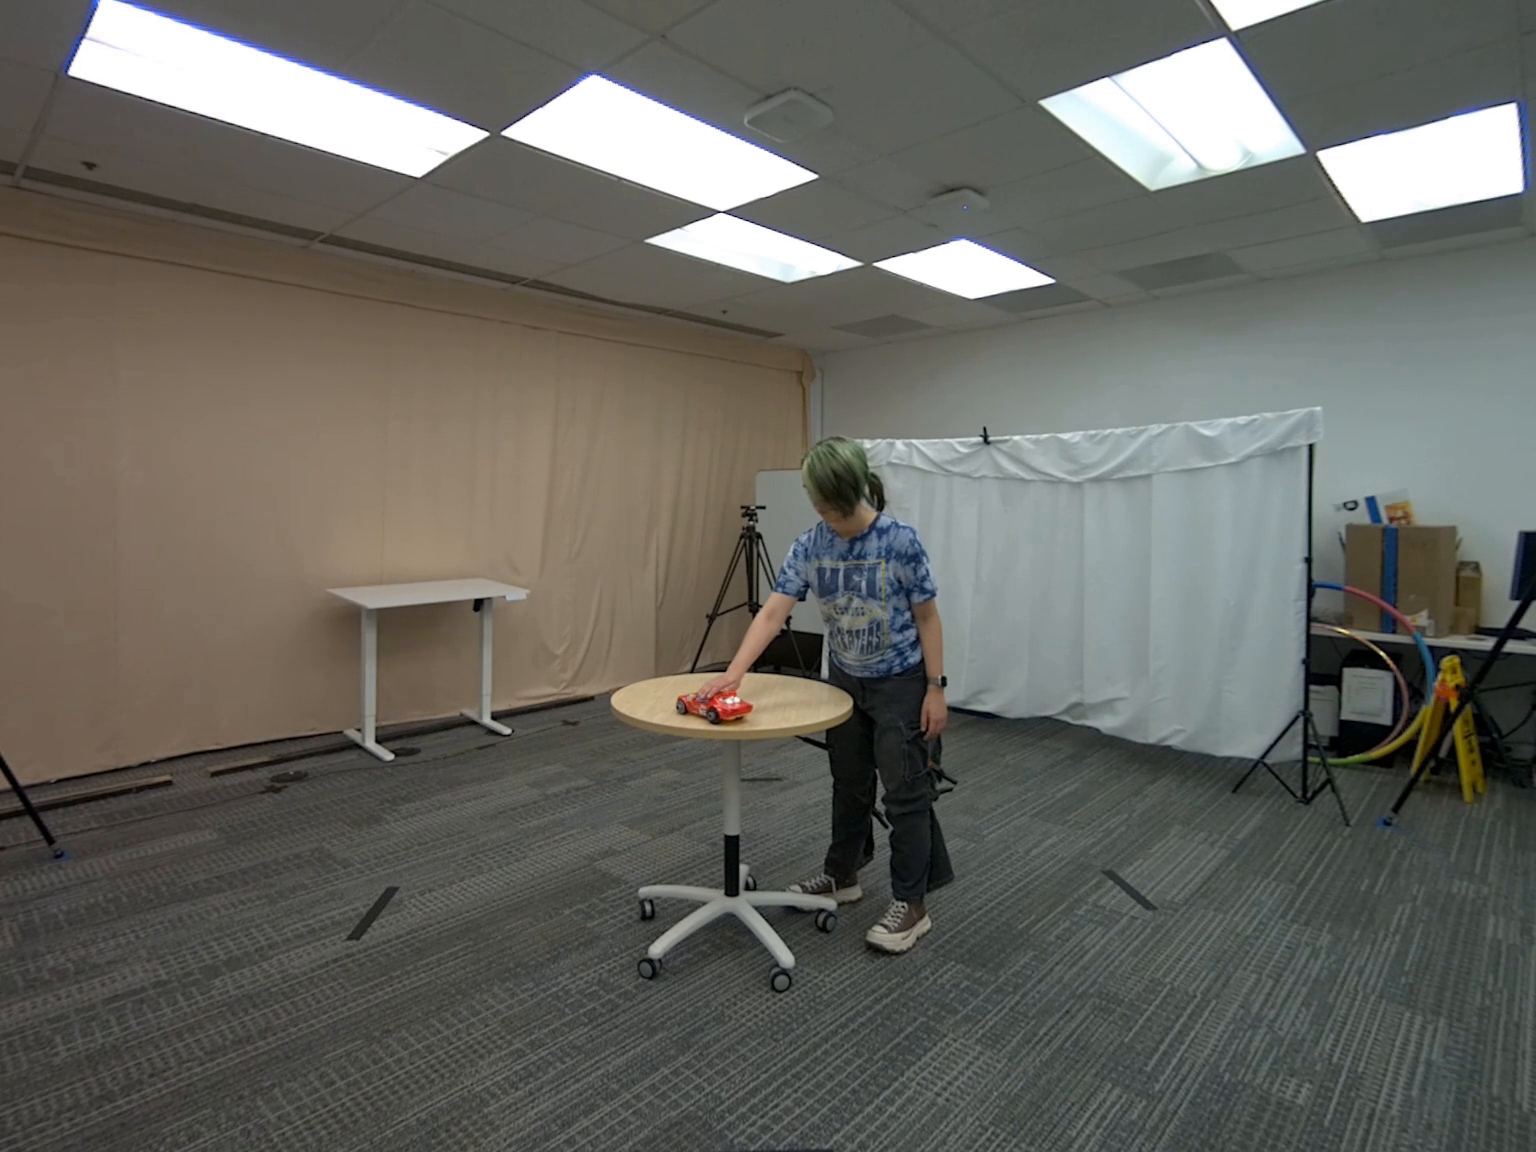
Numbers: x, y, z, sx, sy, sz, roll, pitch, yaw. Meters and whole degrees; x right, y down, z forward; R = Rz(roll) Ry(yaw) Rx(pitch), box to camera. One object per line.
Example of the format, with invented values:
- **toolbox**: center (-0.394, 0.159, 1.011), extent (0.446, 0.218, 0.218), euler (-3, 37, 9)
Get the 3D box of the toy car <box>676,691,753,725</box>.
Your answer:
- **toy car**: center (-0.150, 0.382, 2.419), extent (0.126, 0.083, 0.262), euler (-3, -4, -42)
